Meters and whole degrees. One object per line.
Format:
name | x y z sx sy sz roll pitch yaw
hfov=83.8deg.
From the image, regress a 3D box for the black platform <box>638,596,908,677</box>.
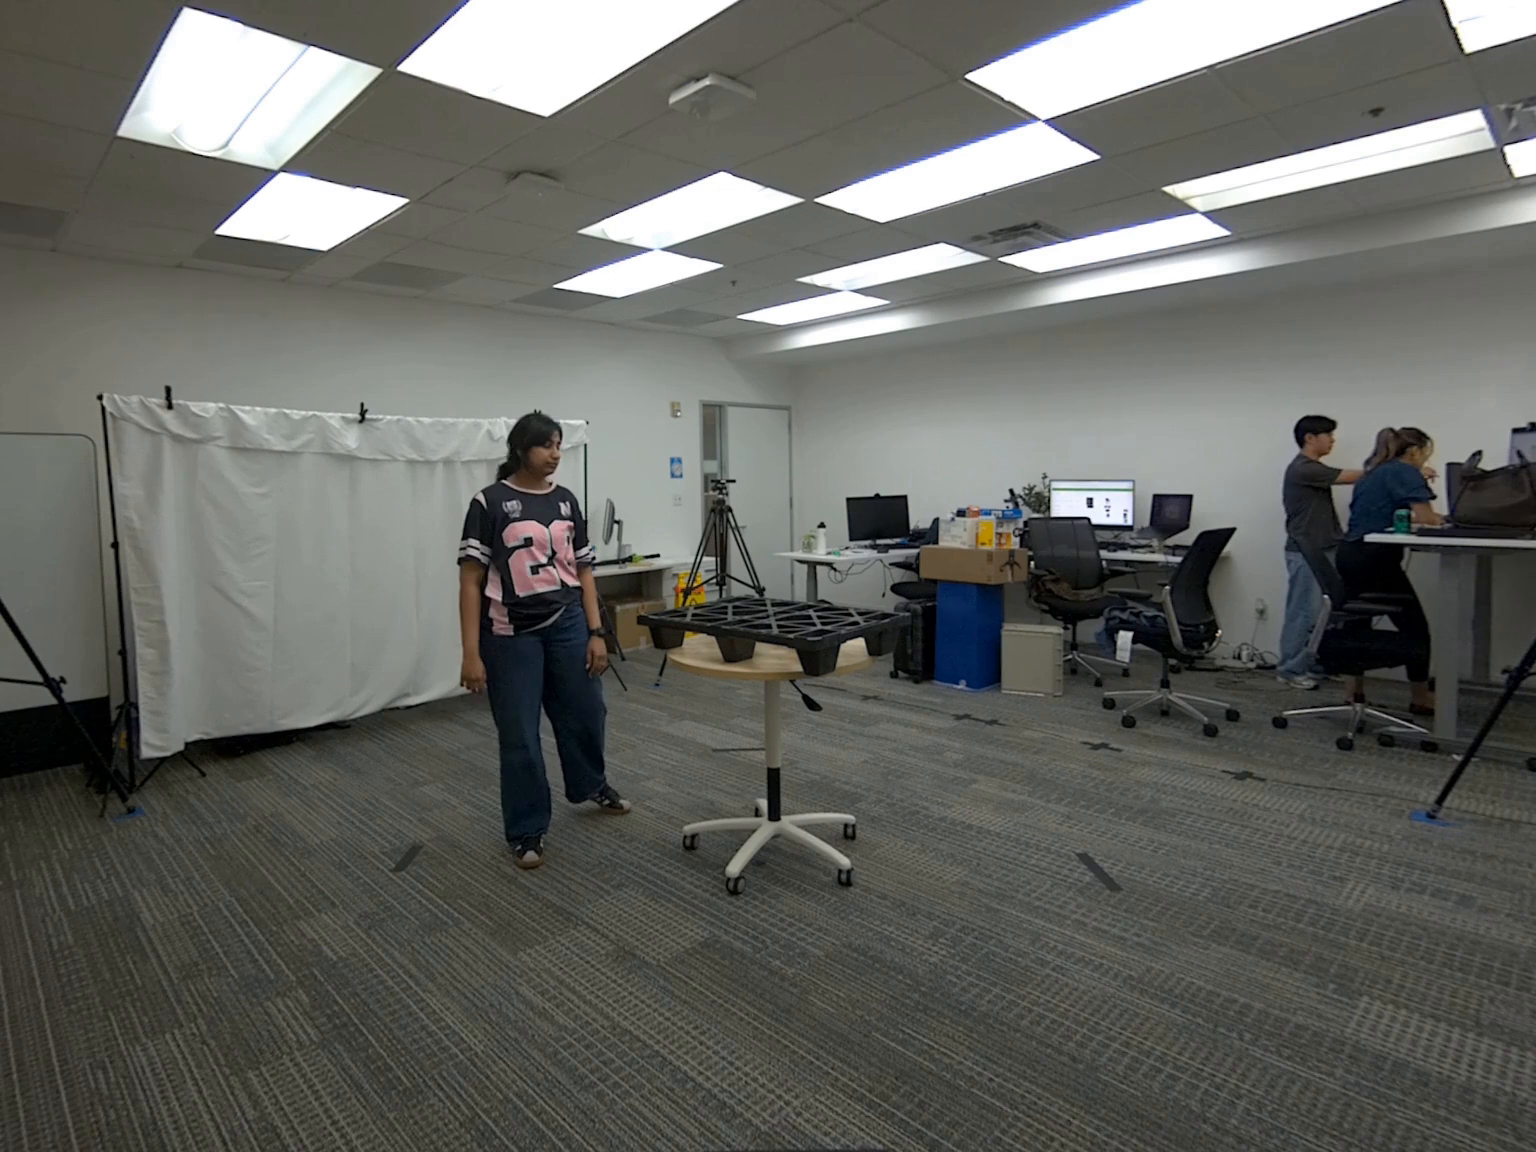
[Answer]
black platform | 0.010 0.206 3.053 0.830 0.142 0.590 4 9 40
